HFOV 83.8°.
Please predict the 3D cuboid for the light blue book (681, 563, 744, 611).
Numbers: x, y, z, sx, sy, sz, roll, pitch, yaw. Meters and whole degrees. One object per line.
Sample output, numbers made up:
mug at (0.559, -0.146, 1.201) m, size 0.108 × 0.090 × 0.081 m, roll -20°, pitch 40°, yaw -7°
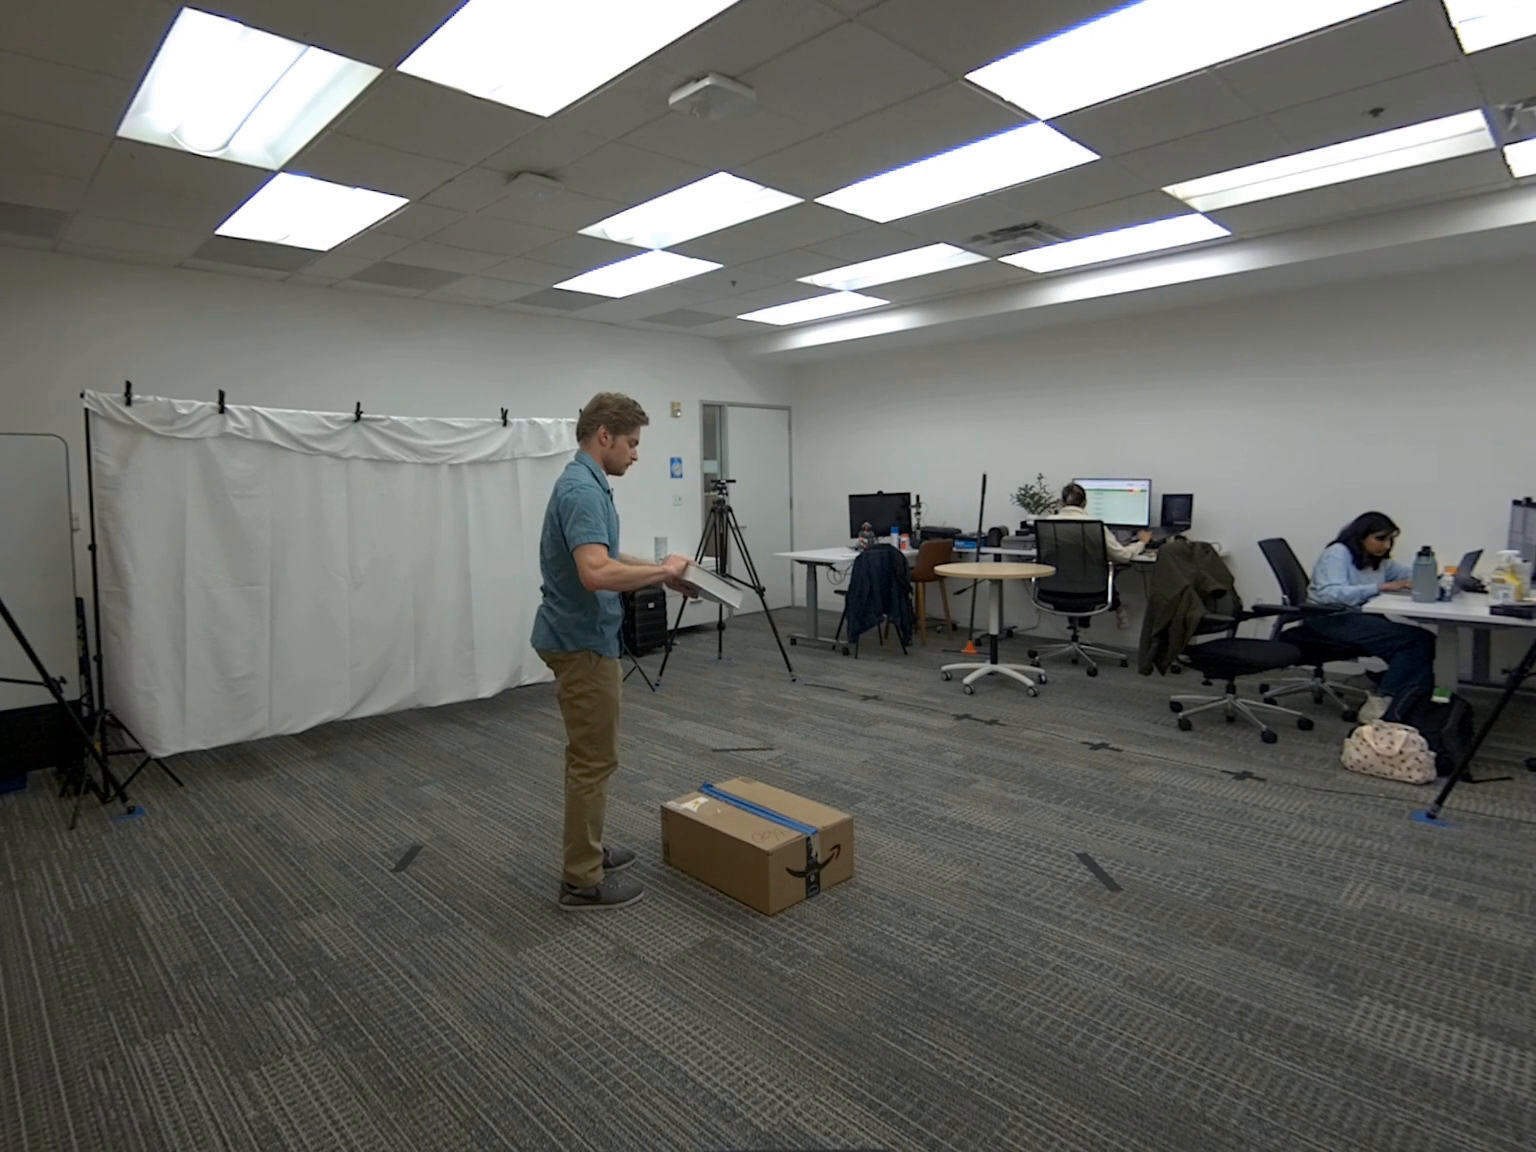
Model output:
light blue book at (-0.244, 0.026, 2.871) m, size 0.198 × 0.059 × 0.251 m, roll 12°, pitch -14°, yaw 47°
